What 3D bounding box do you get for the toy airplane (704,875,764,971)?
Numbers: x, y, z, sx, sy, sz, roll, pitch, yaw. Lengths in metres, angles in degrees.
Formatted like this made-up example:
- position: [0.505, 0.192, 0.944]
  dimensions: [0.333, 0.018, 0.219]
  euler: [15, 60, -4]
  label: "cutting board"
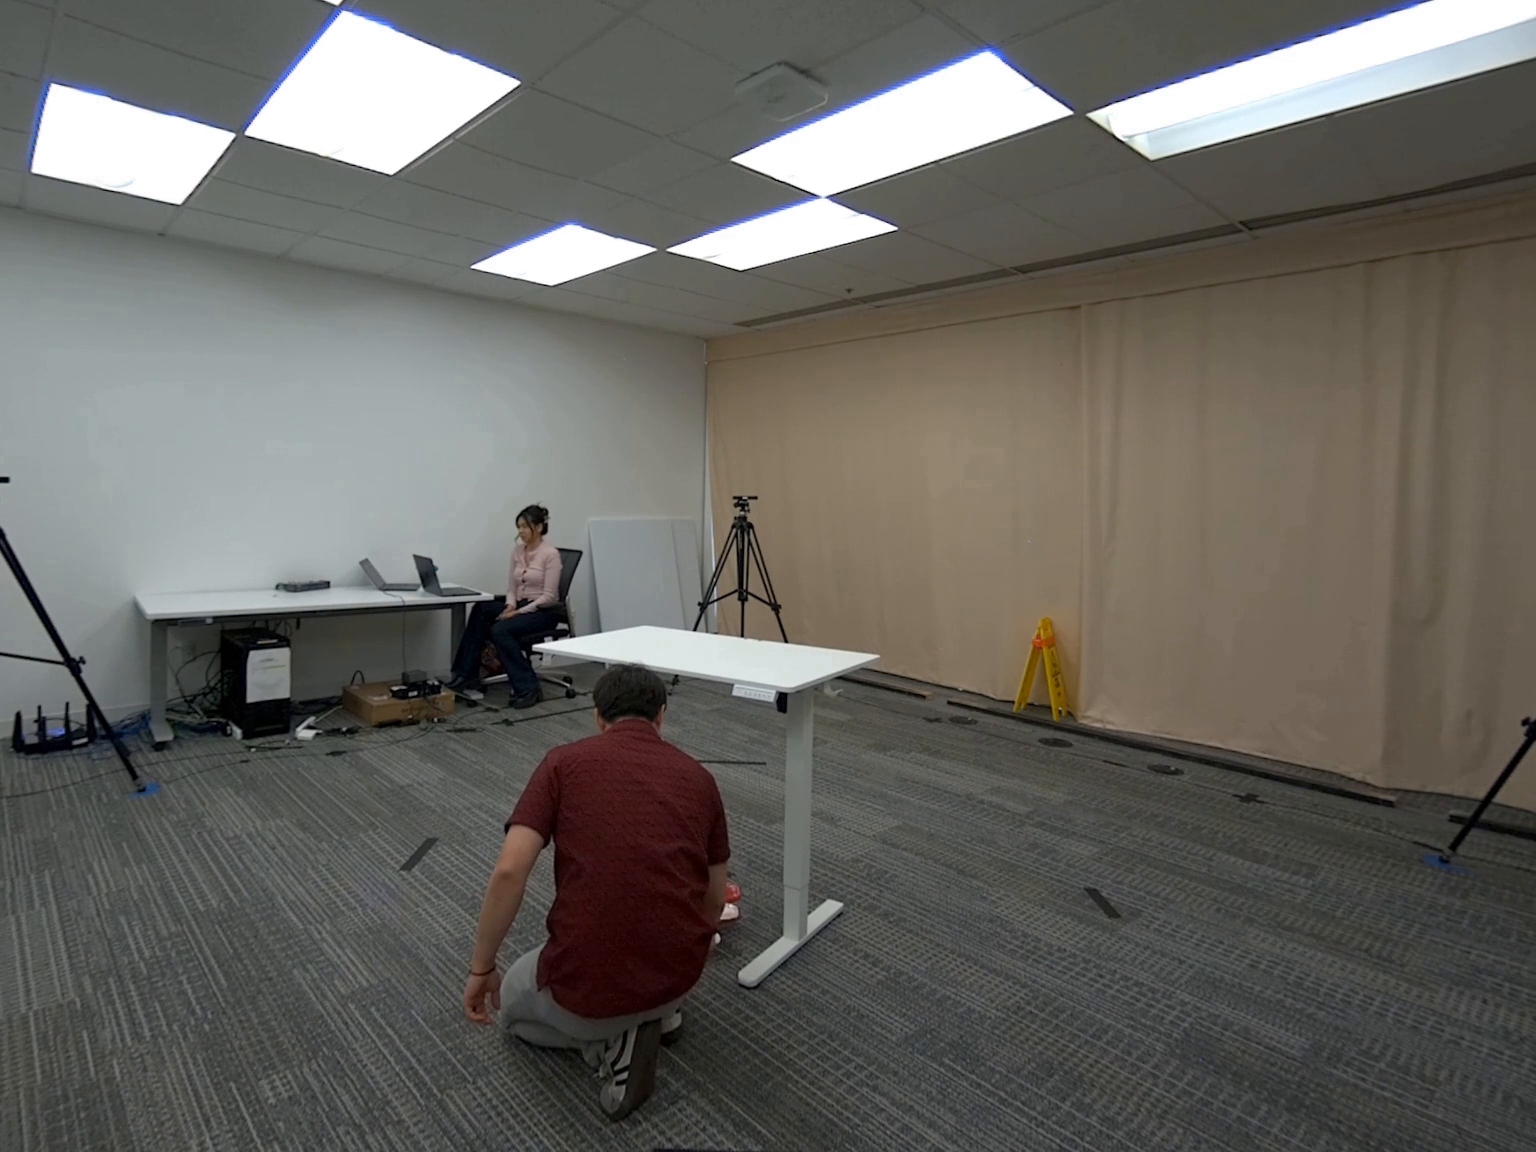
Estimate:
- position: [-0.191, 1.070, 2.645]
  dimensions: [0.246, 0.156, 0.265]
  euler: [-3, 5, -32]
  label: "toy airplane"
